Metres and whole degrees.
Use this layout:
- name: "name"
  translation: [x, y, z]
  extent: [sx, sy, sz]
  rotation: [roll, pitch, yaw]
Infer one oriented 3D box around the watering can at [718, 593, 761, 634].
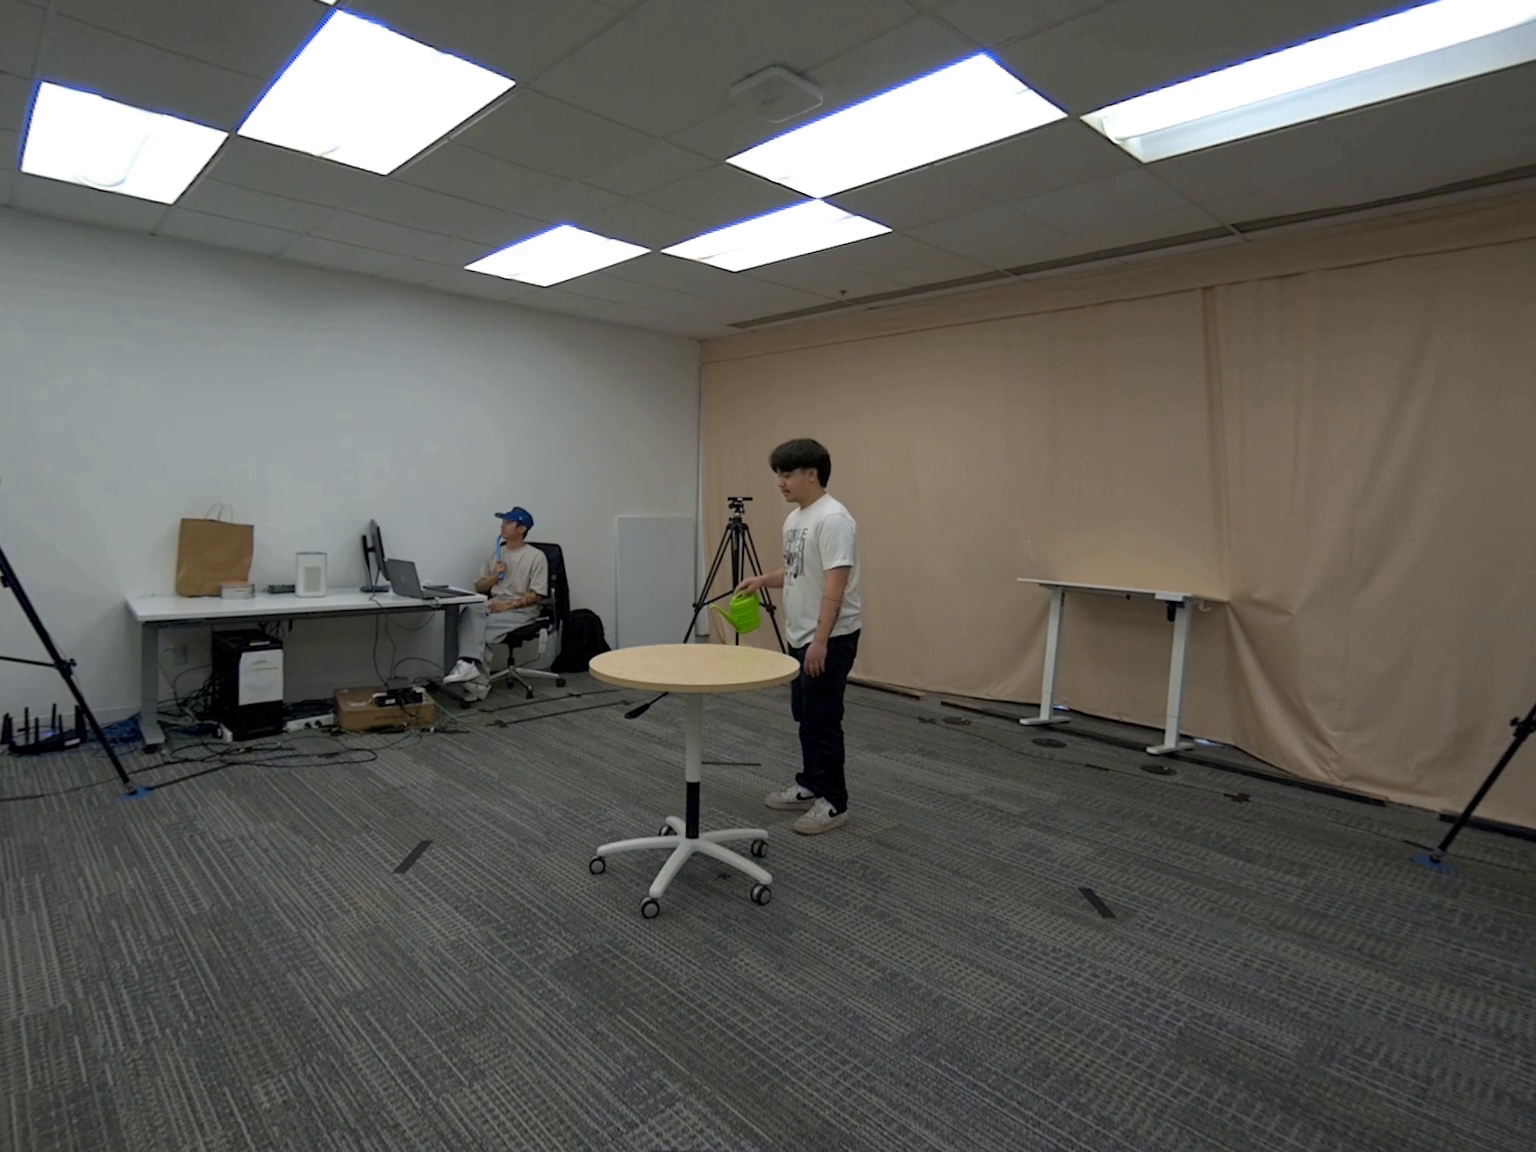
- name: "watering can"
  translation: [-0.140, 0.164, 3.722]
  extent: [0.275, 0.175, 0.100]
  rotation: [-20, 14, -24]
